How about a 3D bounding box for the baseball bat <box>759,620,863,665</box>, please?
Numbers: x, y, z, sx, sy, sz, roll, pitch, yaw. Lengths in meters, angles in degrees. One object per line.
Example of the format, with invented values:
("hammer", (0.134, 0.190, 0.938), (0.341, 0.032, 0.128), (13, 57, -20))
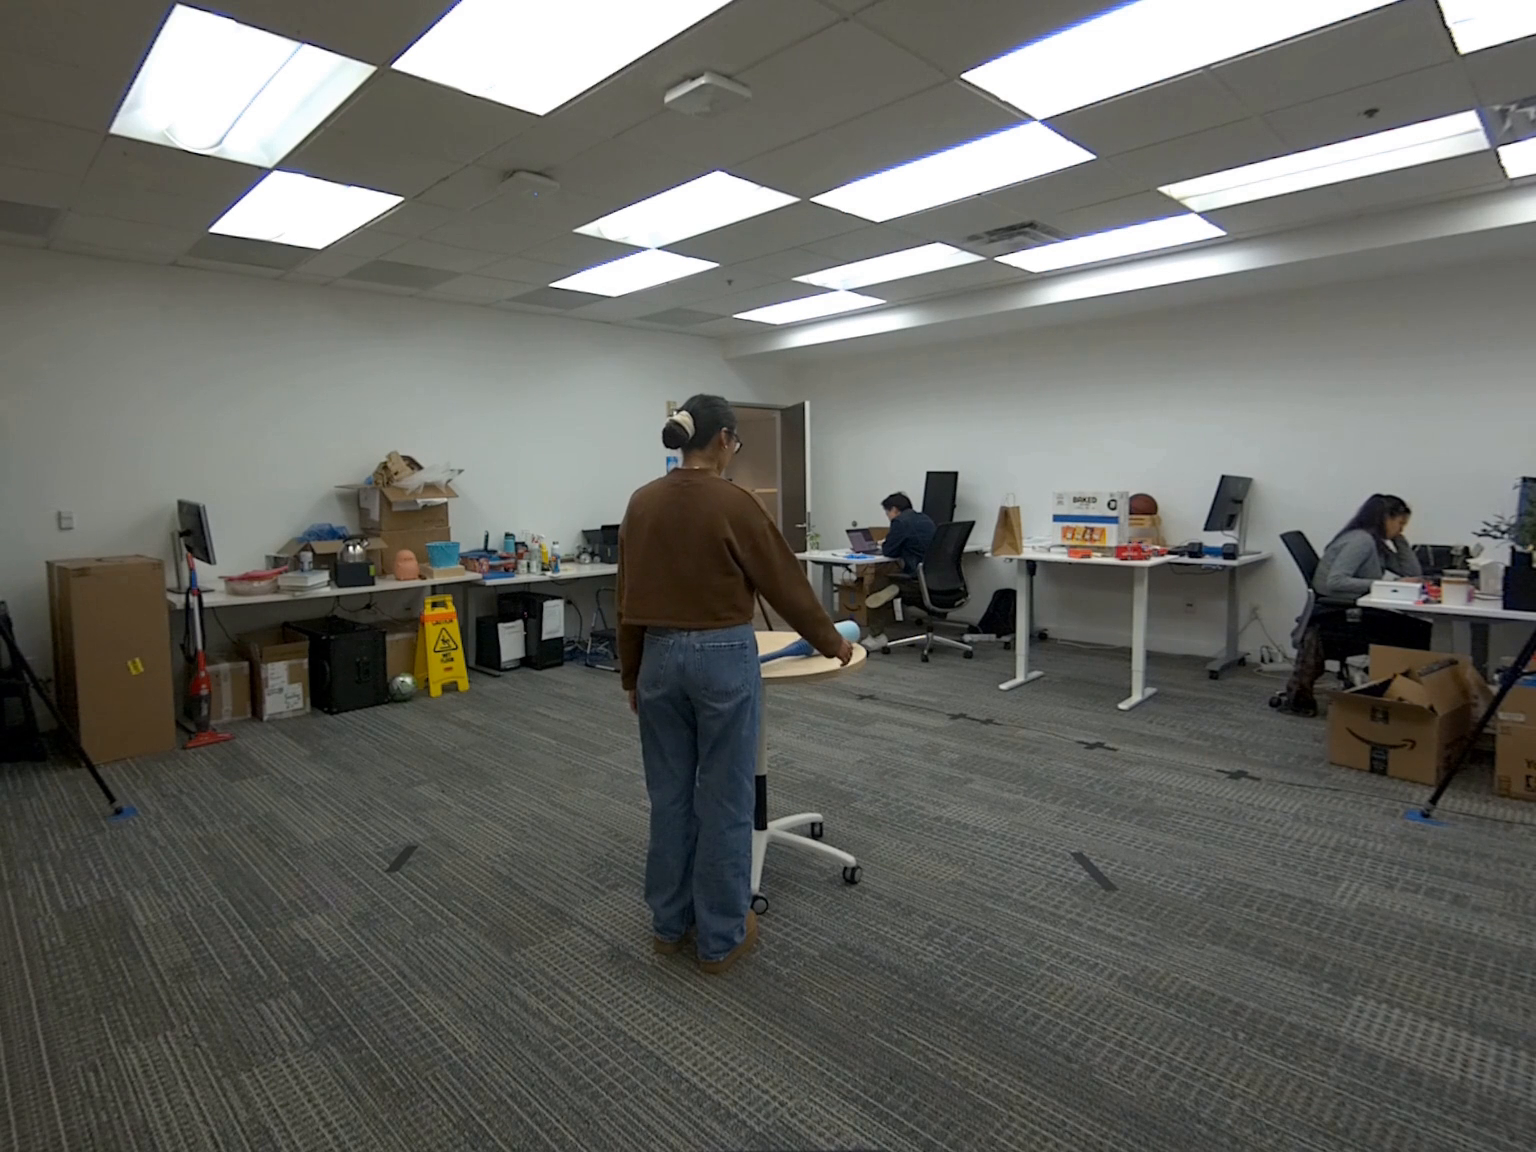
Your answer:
("baseball bat", (0.124, 0.247, 2.905), (0.092, 0.088, 0.530), (4, 12, 45))
